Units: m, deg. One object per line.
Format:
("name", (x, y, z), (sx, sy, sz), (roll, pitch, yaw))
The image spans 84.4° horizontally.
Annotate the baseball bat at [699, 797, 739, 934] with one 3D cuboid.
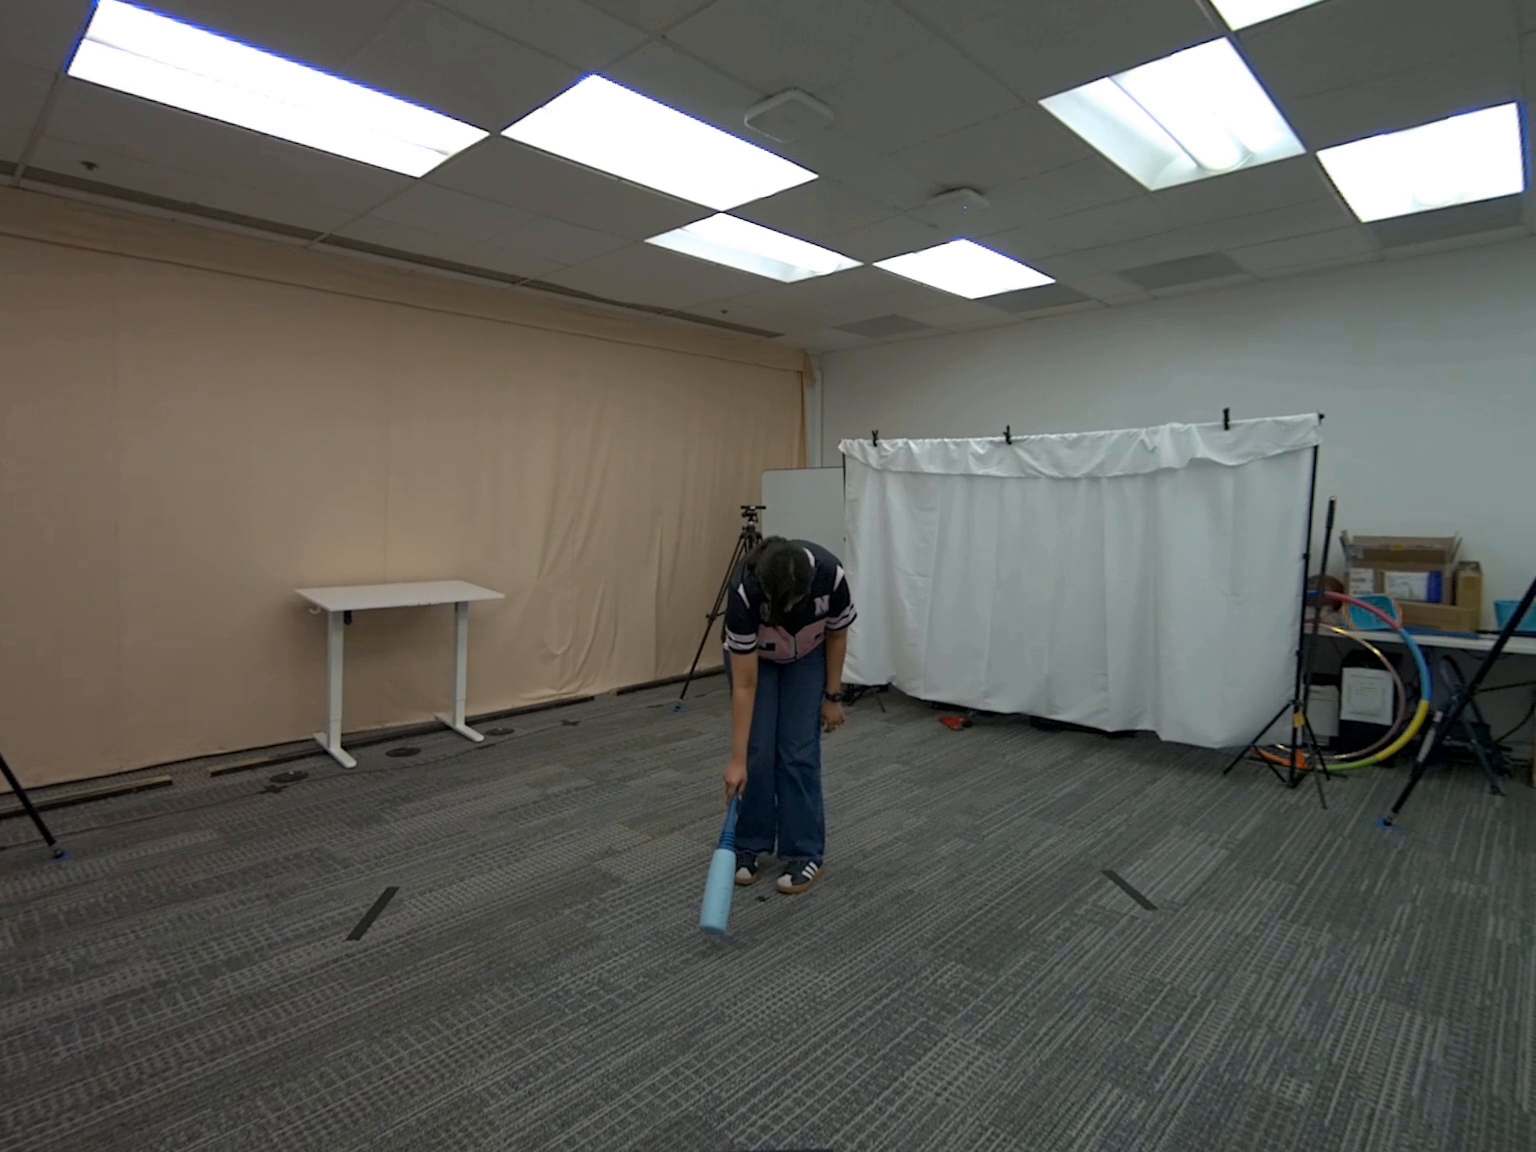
("baseball bat", (-0.128, 0.898, 2.776), (0.089, 0.549, 0.087), (7, -39, 4))
